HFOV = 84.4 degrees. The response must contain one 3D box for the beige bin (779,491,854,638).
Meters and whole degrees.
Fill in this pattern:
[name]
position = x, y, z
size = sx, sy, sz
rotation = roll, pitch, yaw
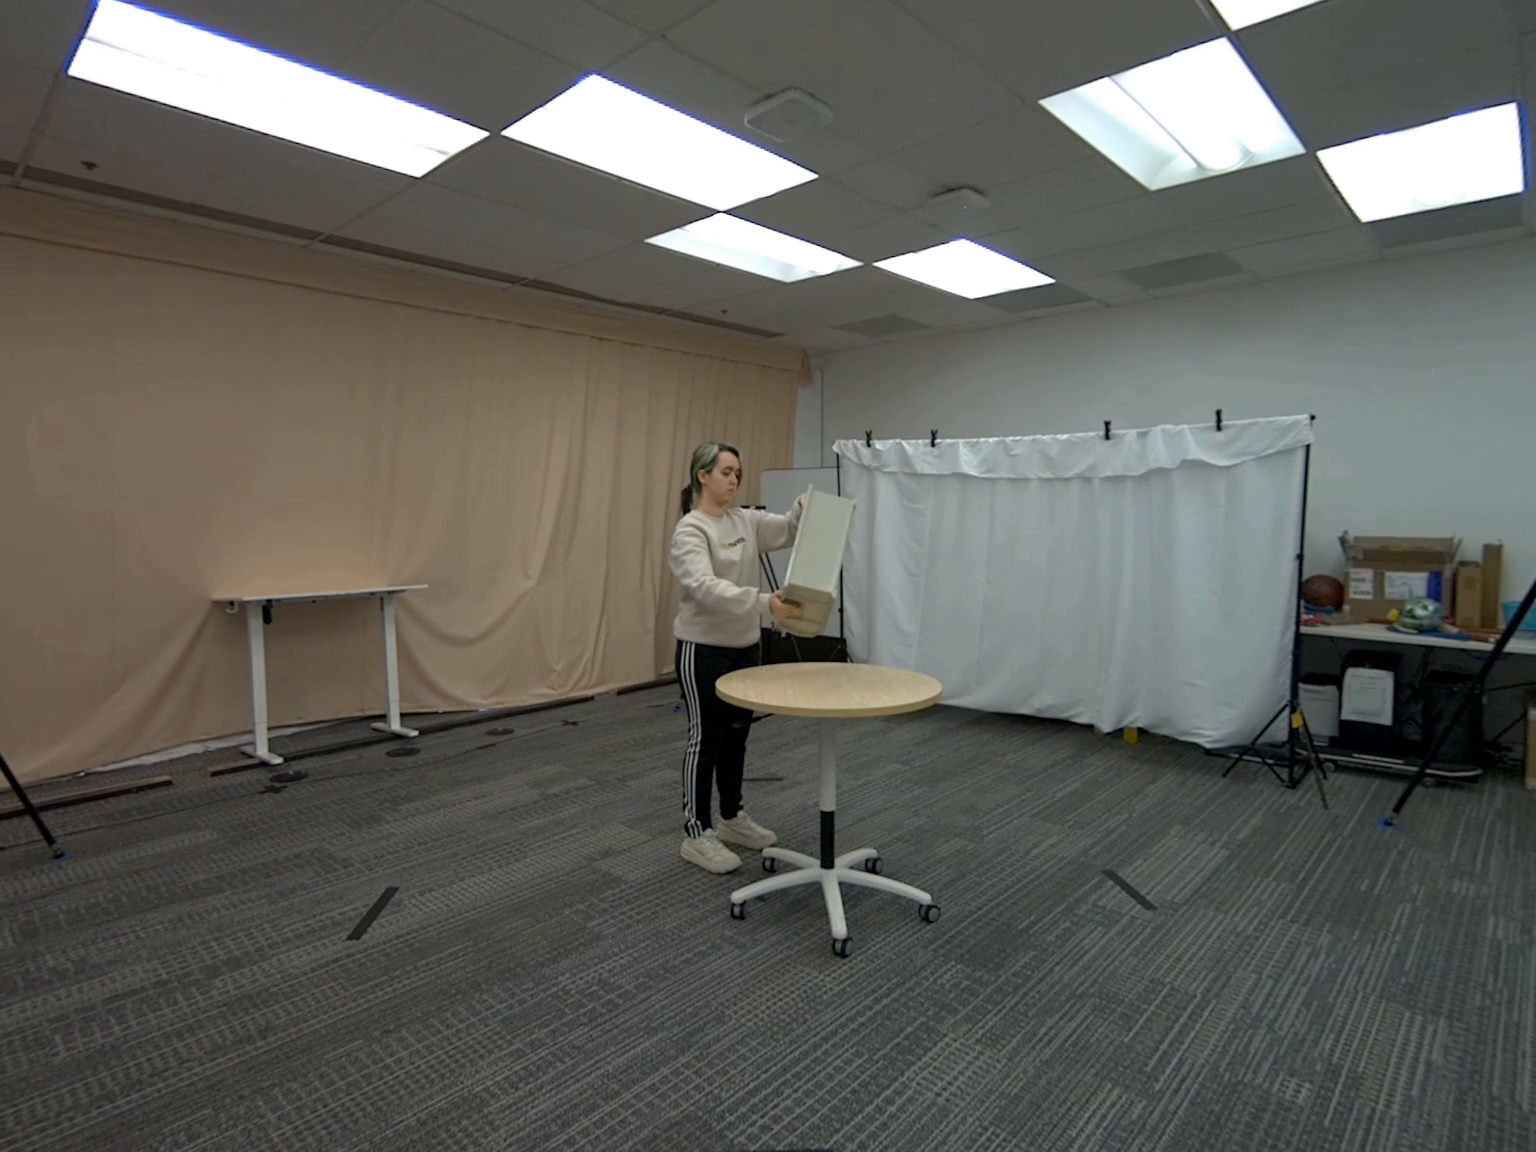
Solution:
[beige bin]
position = 0.180, -0.042, 3.057
size = 0.191, 0.425, 0.371
rotation = 13, -29, 6
